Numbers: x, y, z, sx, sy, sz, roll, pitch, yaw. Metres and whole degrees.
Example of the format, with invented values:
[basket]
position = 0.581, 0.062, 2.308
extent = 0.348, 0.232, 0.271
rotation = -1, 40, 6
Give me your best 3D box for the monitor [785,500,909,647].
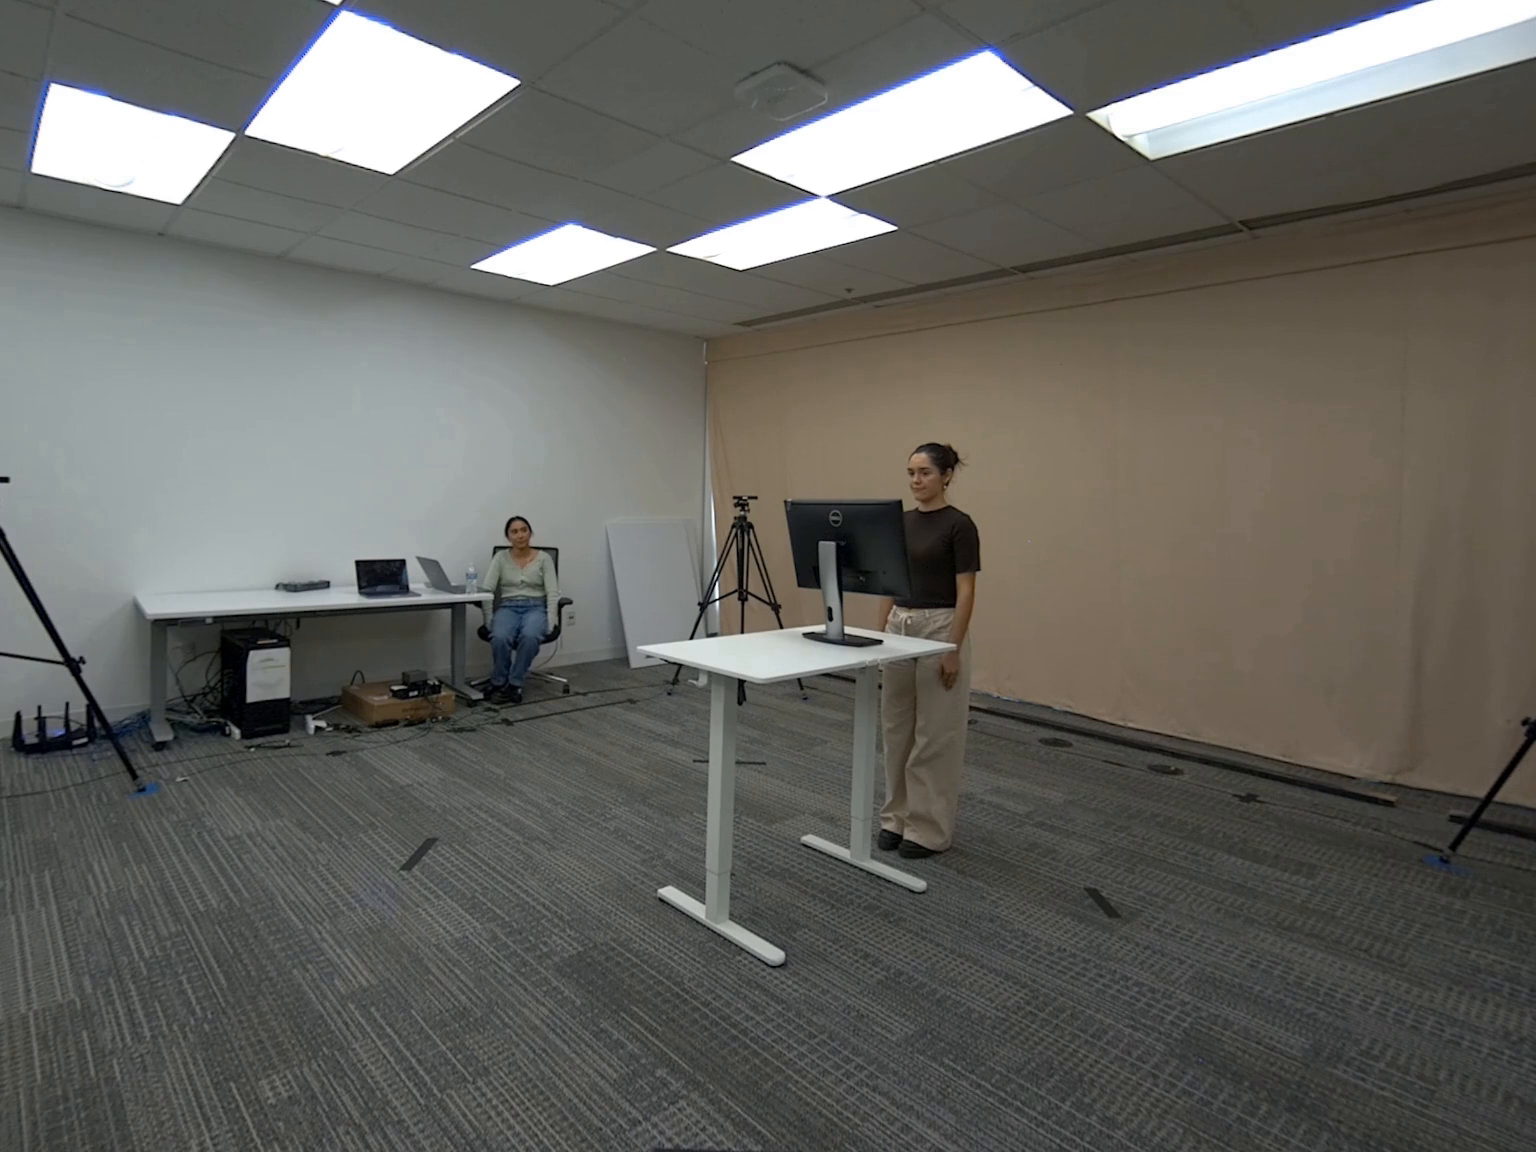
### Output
[monitor]
position = 0.259, -0.015, 3.042
extent = 0.553, 0.521, 0.183
rotation = 4, 7, 44
